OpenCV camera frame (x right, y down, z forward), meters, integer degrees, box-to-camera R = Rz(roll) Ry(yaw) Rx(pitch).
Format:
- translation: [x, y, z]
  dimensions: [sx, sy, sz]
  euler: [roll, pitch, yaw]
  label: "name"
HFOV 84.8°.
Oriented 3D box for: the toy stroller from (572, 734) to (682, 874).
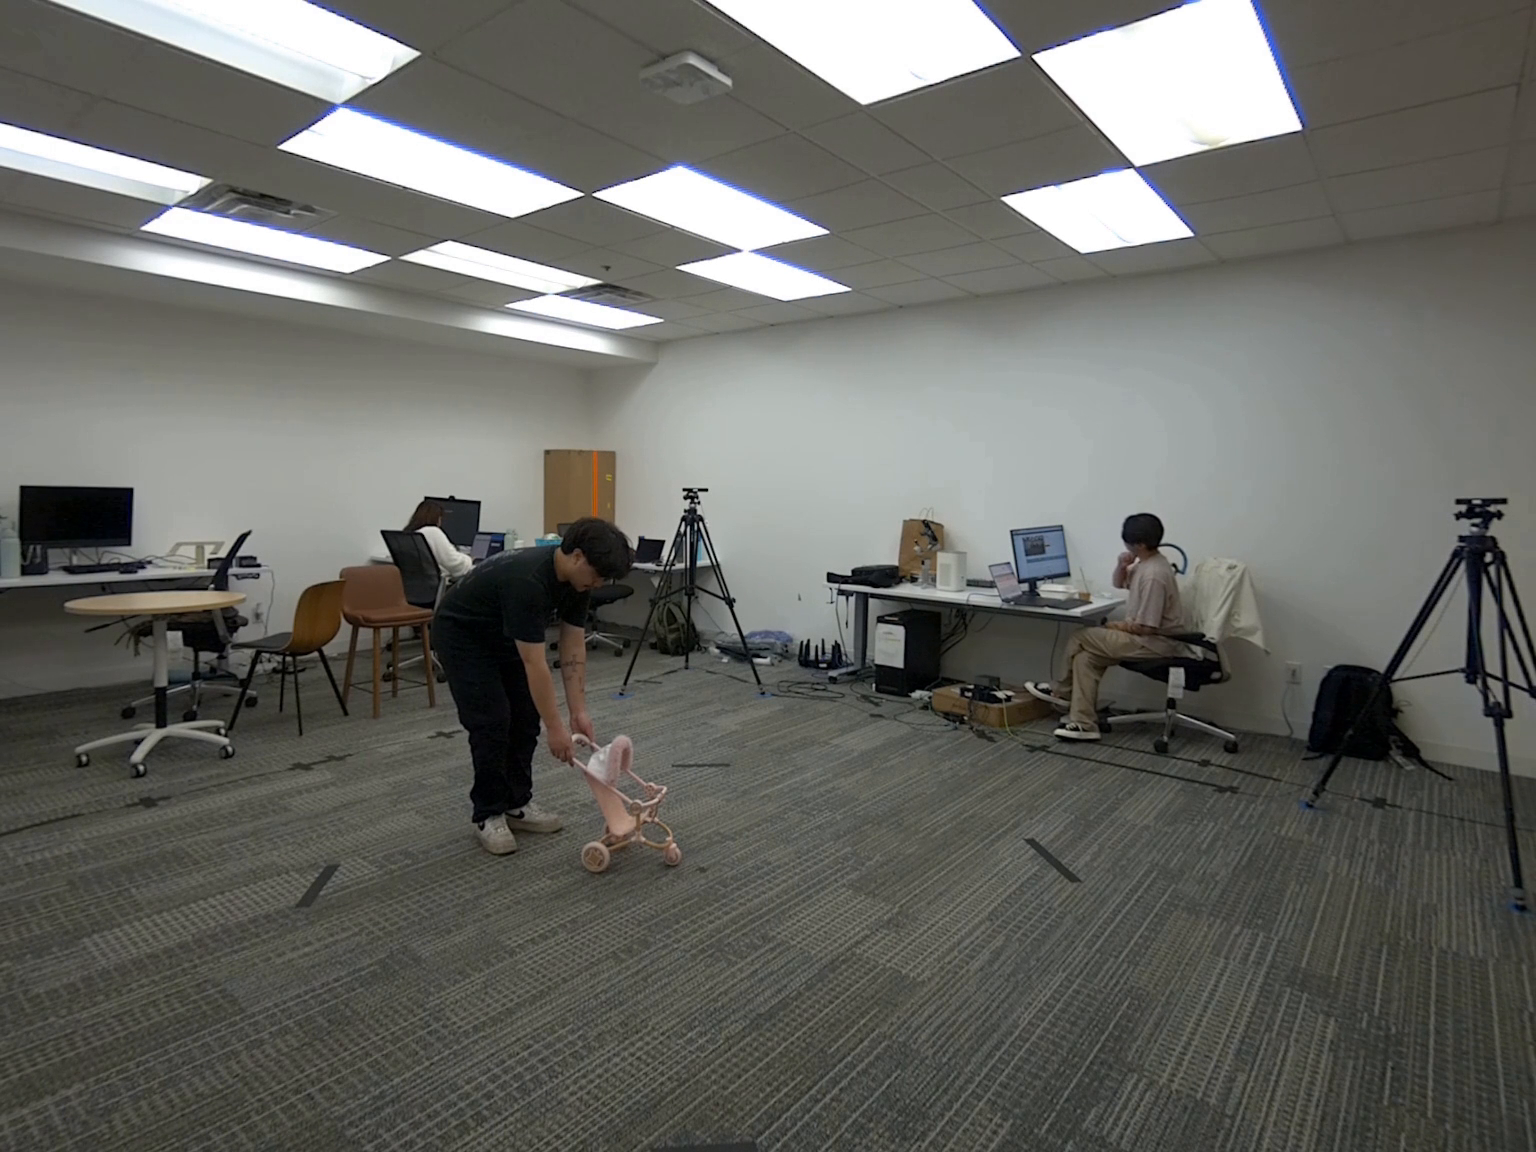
- translation: [-0.551, 0.834, 3.164]
  dimensions: [0.346, 0.535, 0.278]
  euler: [-14, 0, 16]
  label: "toy stroller"
